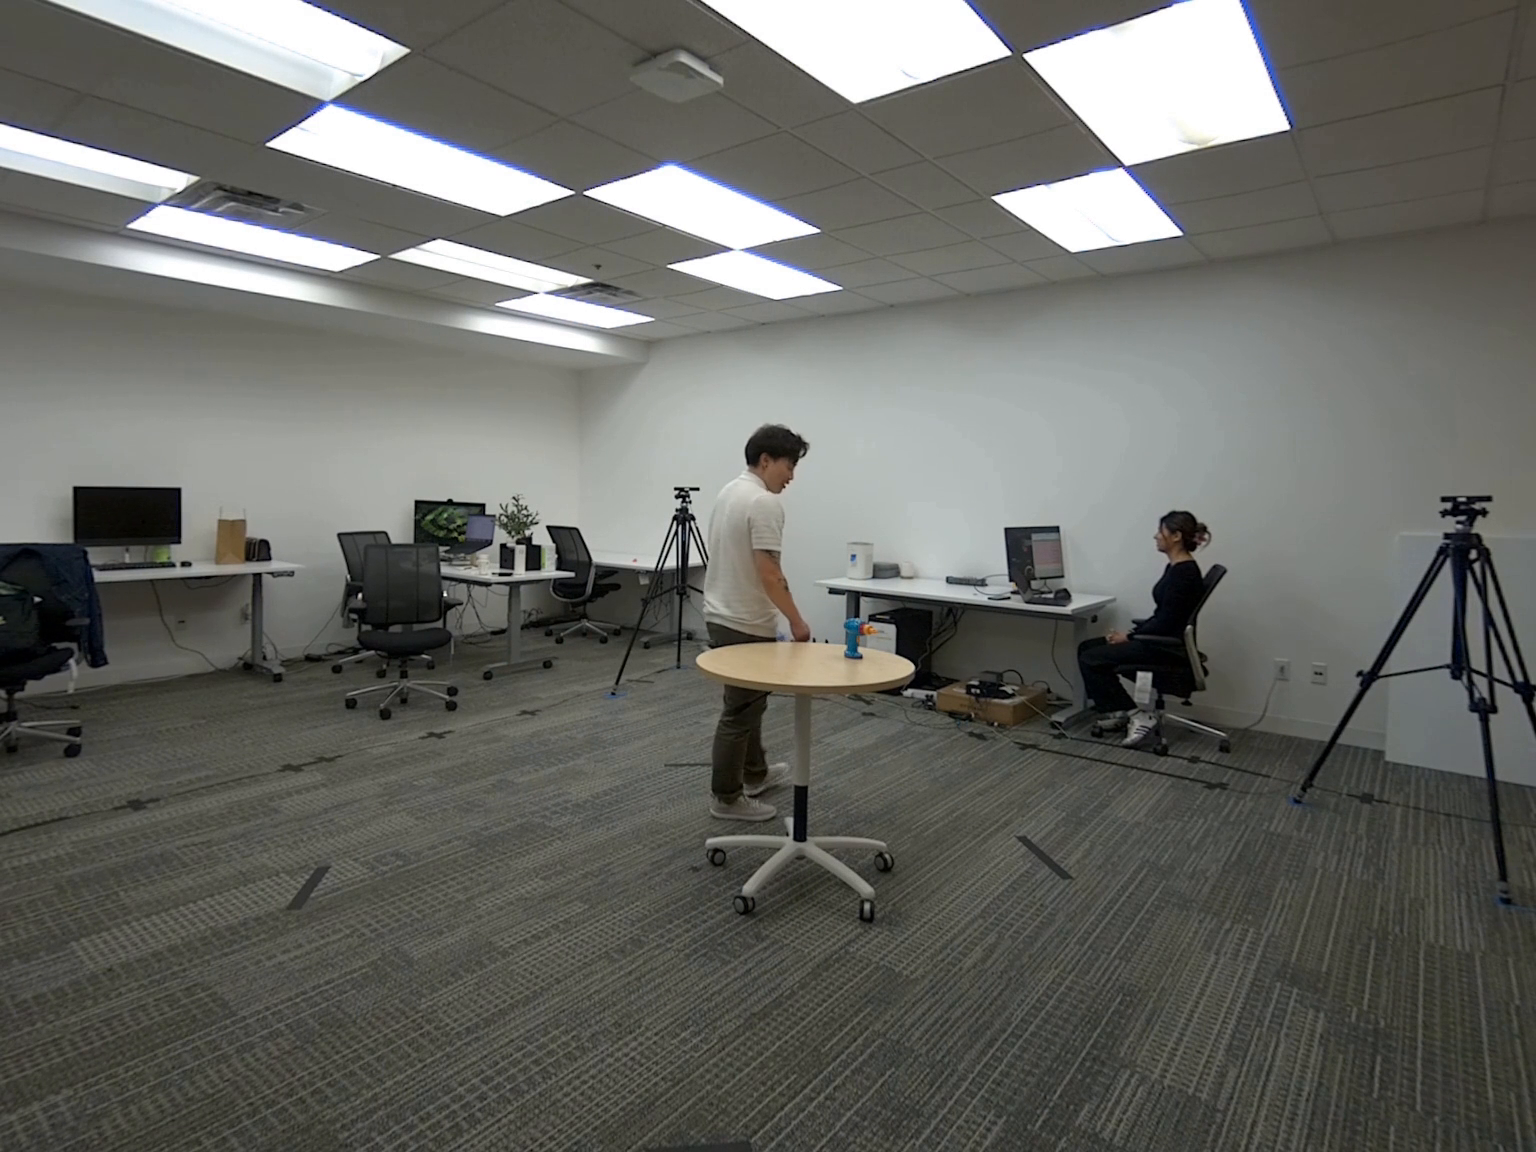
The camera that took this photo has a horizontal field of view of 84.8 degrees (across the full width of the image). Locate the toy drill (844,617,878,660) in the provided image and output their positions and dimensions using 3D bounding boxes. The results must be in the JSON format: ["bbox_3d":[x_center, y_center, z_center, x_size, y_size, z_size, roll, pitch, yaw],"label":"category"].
[{"bbox_3d":[0.326,0.223,3.064,0.059,0.145,0.175,-3,4,-35],"label":"toy drill"}]
